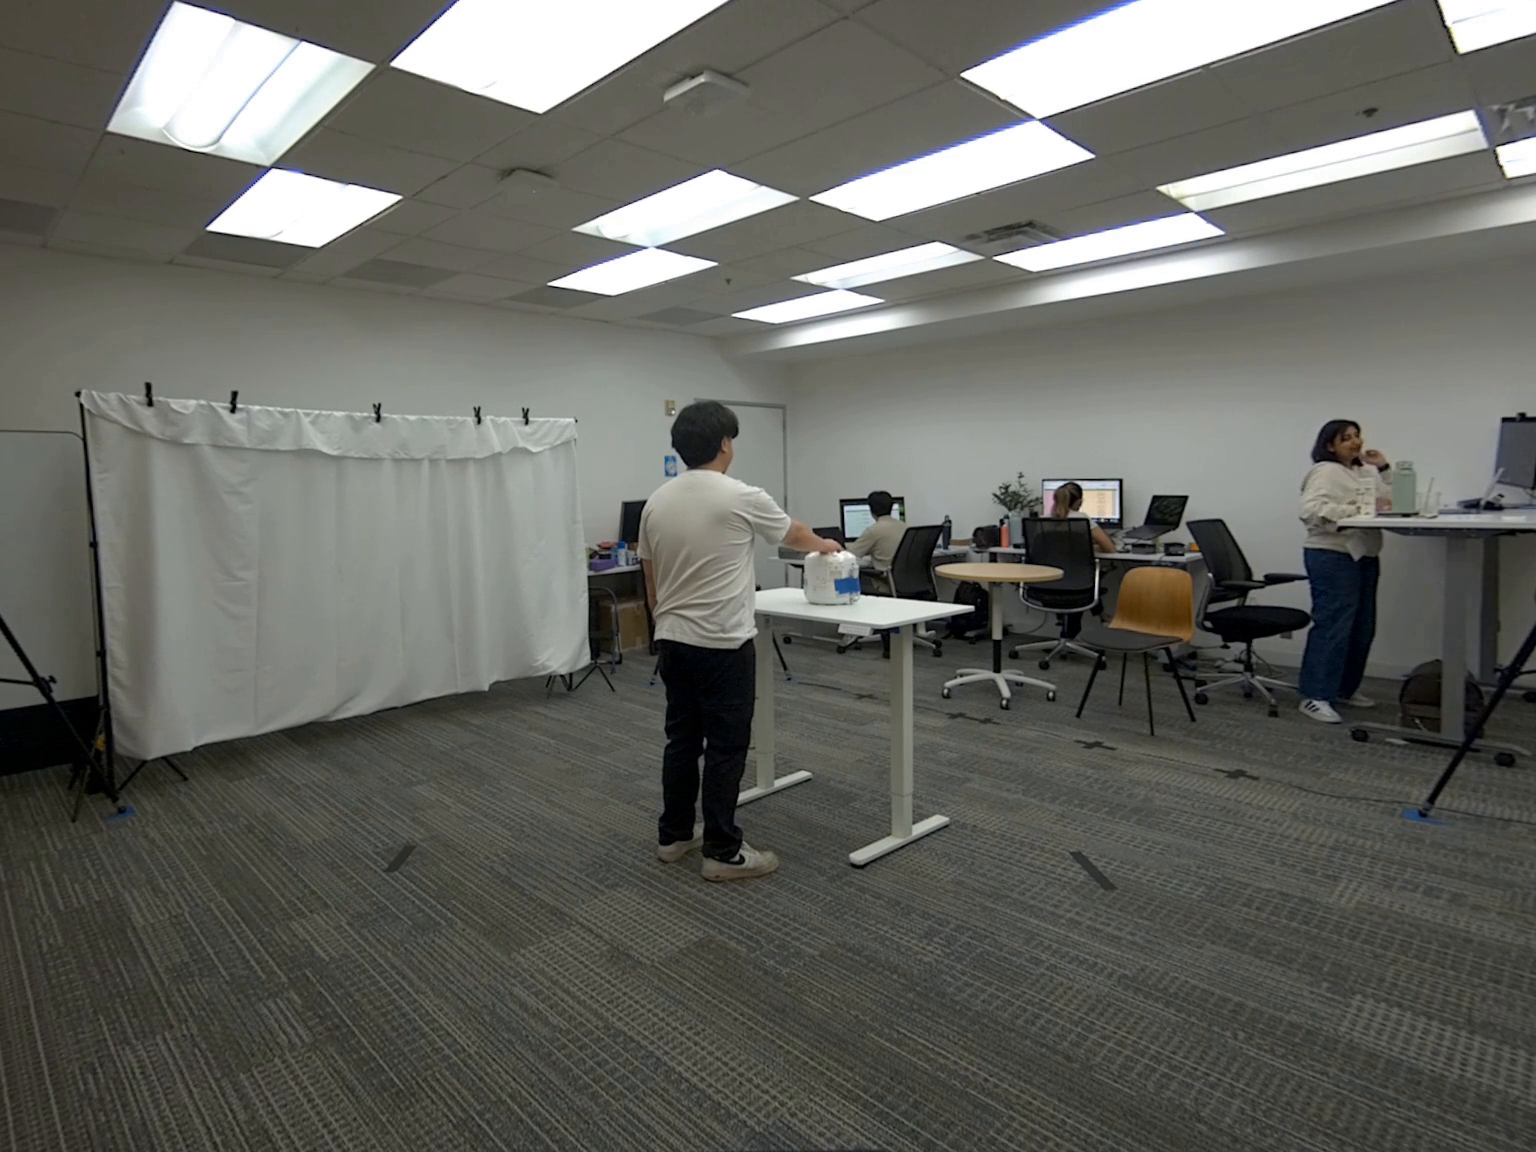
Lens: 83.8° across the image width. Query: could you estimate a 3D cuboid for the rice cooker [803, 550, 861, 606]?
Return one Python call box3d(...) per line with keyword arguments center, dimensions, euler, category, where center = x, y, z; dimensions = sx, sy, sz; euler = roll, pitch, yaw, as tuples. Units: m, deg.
box3d(center=(0.261, -0.004, 3.491), dimensions=(0.217, 0.232, 0.222), euler=(-1, 3, -4), category="rice cooker")
